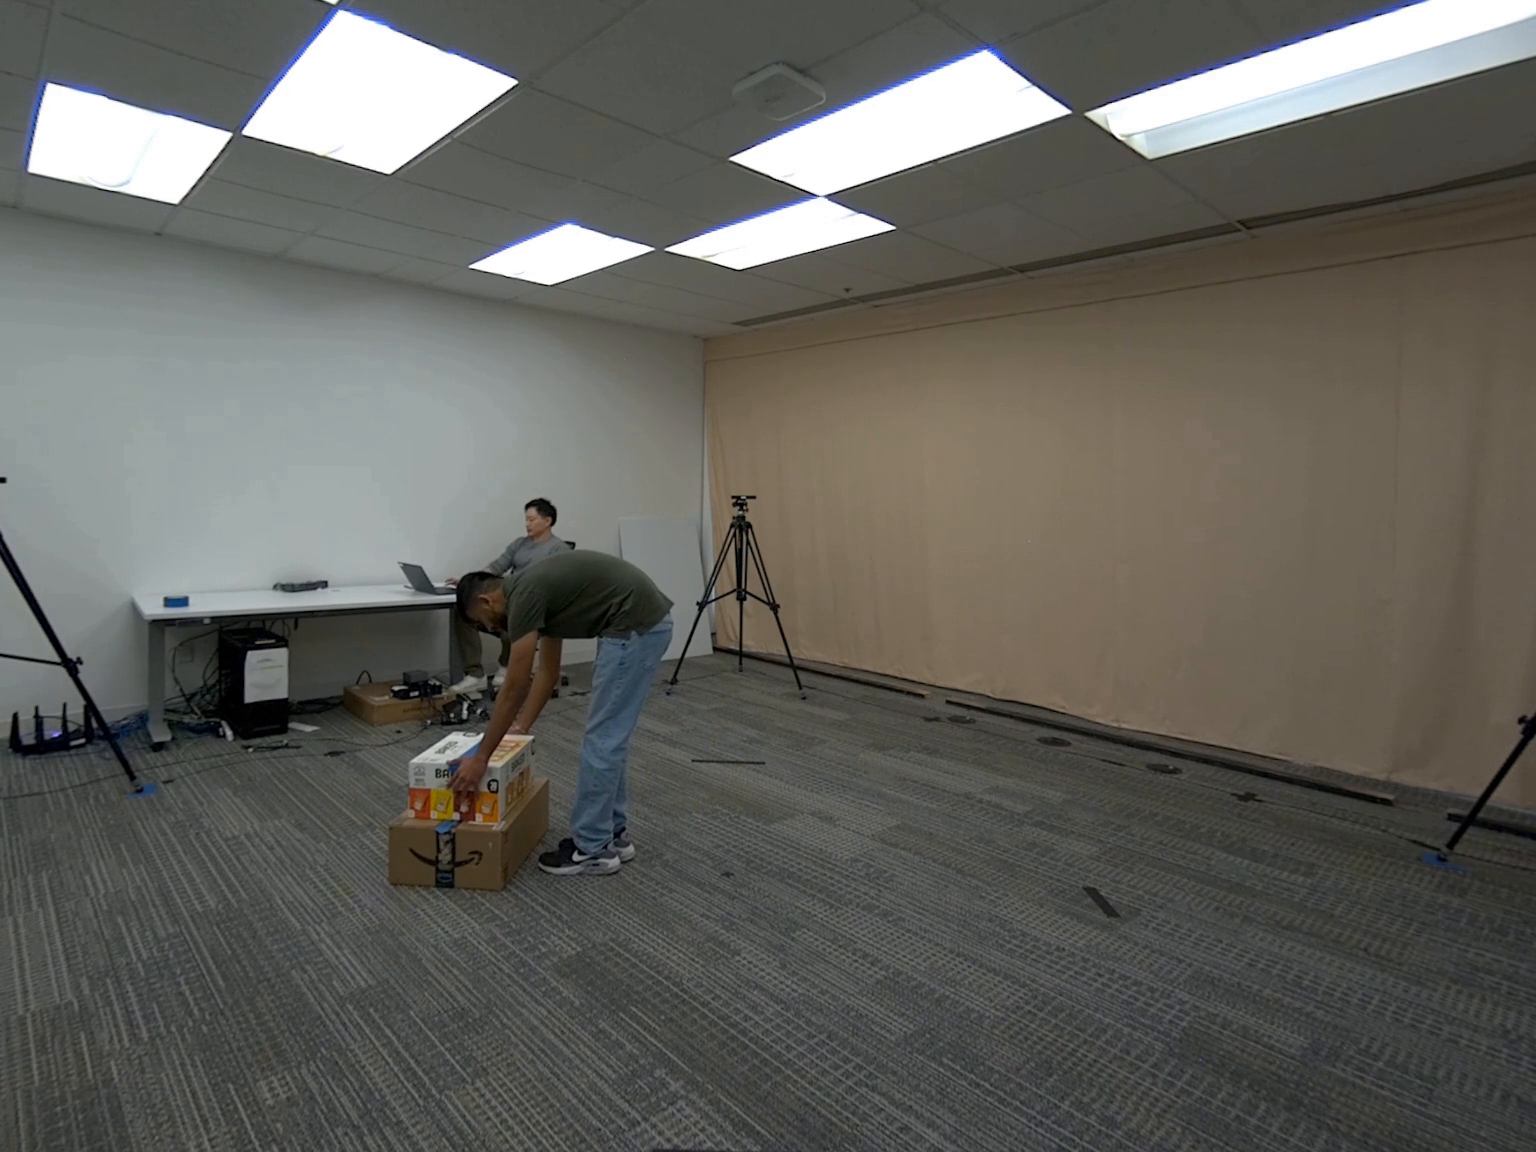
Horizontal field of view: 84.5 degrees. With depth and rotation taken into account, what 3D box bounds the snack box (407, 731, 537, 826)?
[{"bbox_3d":[-1.111,0.755,3.211,0.341,0.205,0.405,2,5,3],"label":"snack box"}]
